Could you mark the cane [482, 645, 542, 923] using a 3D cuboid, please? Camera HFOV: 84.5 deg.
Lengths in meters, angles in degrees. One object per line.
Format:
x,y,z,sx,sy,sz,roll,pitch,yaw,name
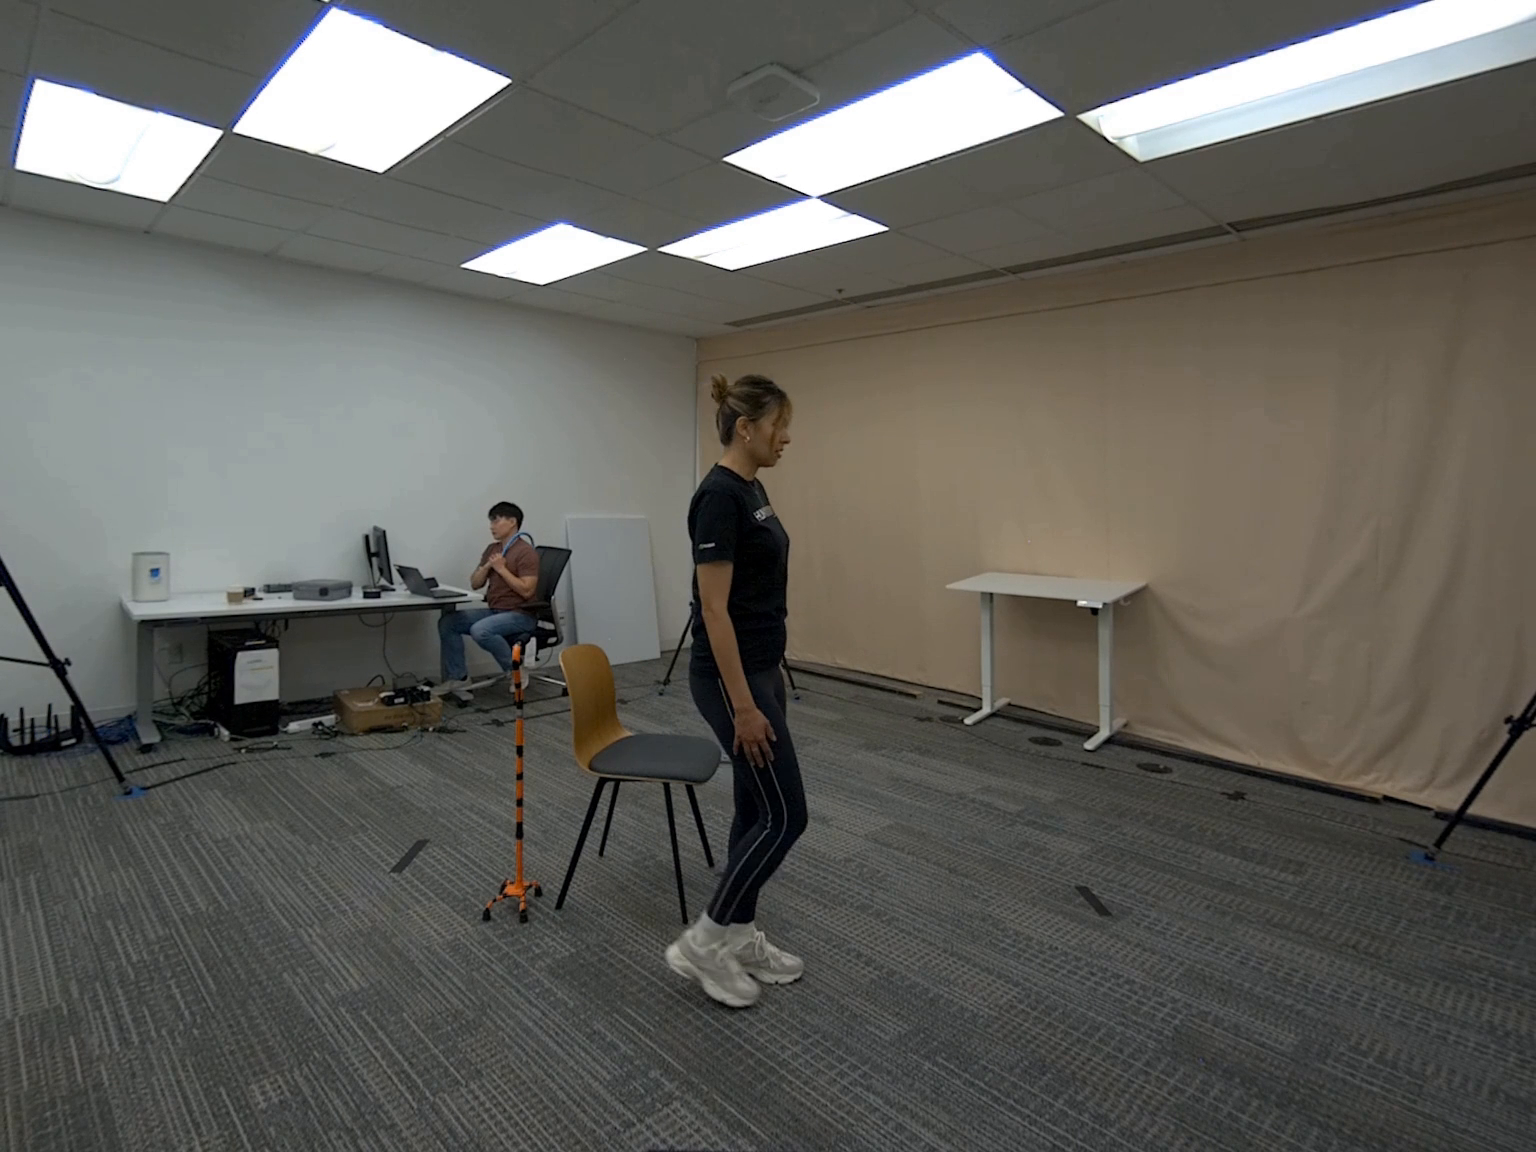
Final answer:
-0.851,0.663,2.801,0.152,0.905,0.207,2,4,1,cane
